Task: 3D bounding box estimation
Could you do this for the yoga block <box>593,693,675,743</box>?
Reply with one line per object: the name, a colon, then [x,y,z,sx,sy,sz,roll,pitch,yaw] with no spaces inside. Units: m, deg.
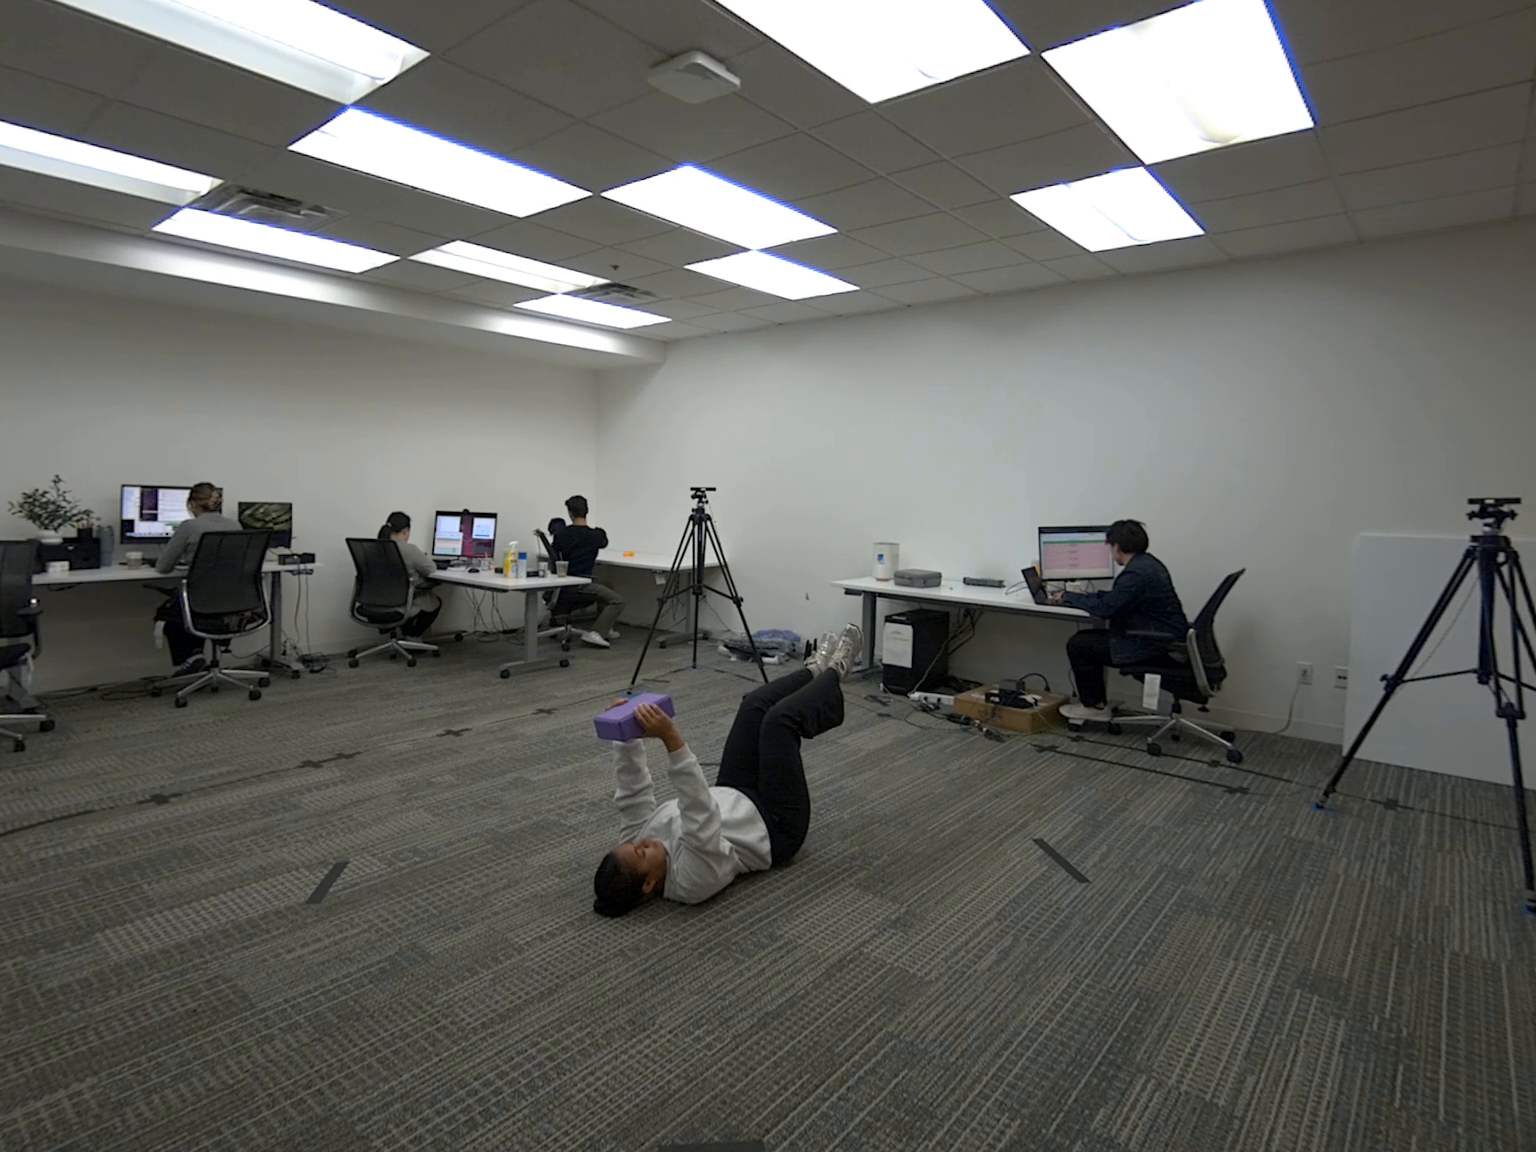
yoga block: [-0.459,0.464,2.794,0.153,0.076,0.225,-5,12,45]
